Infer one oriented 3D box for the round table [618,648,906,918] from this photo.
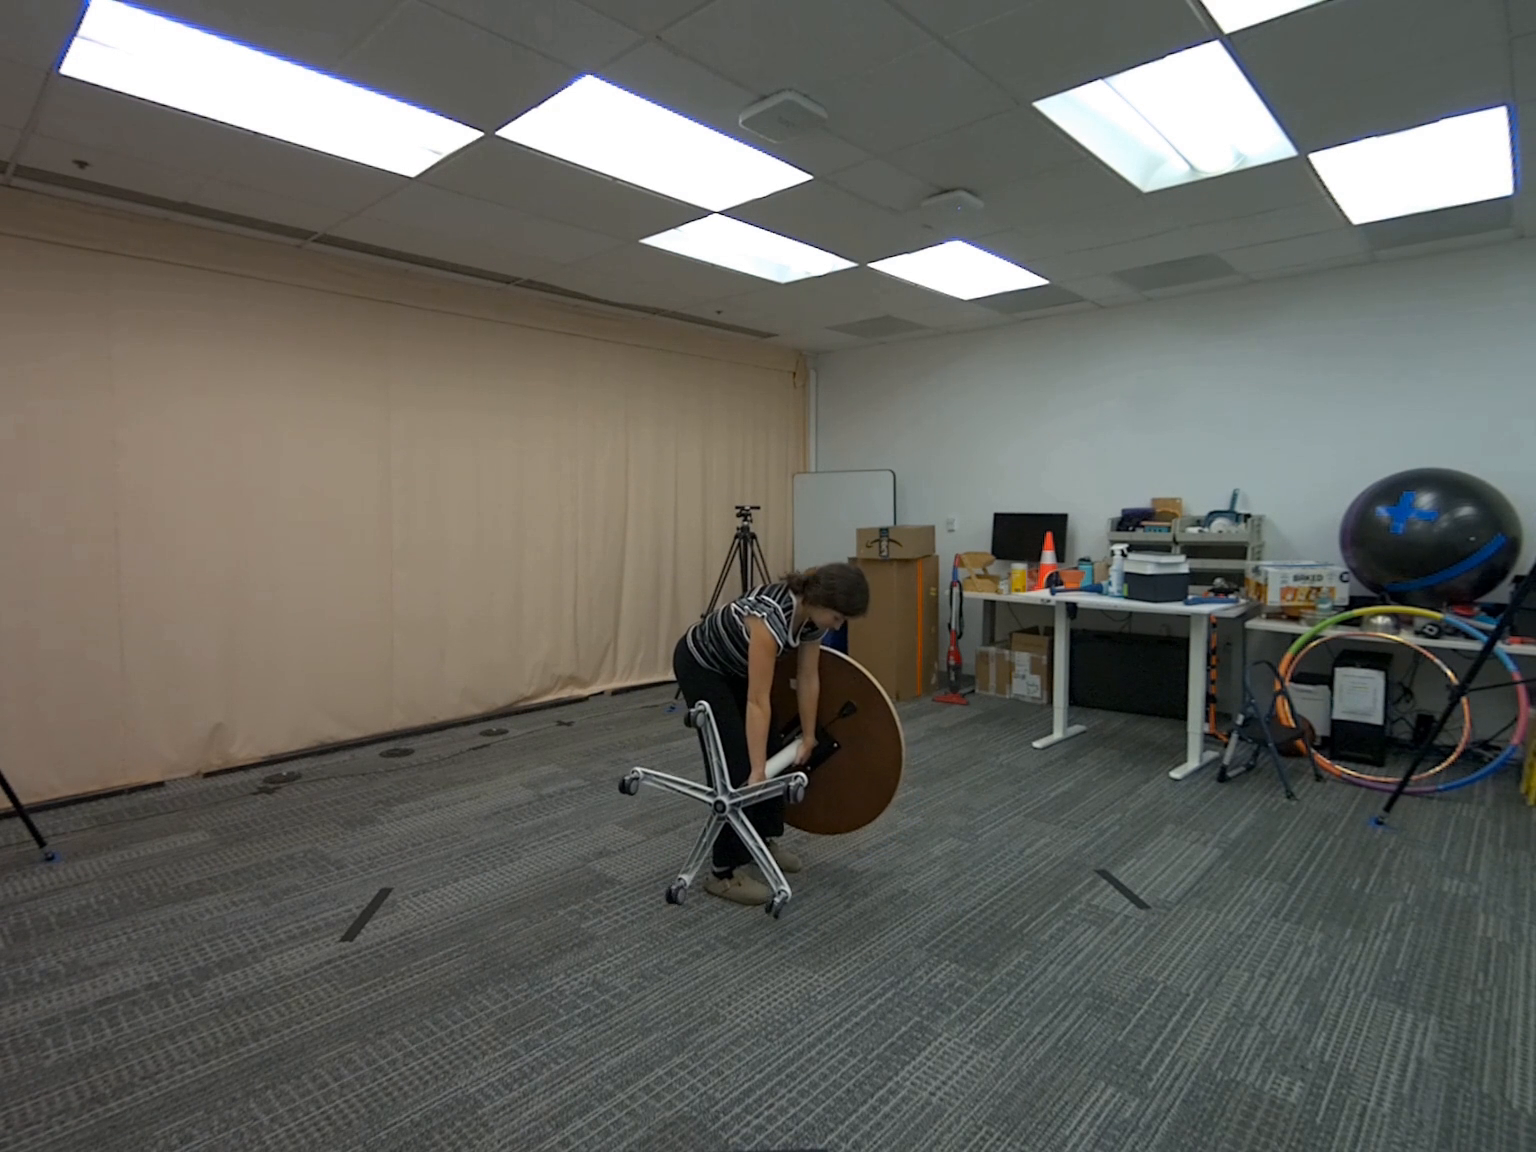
[{"bbox_3d":[-0.012,0.707,2.989,0.786,0.760,0.775,2,9,30],"label":"round table"}]
